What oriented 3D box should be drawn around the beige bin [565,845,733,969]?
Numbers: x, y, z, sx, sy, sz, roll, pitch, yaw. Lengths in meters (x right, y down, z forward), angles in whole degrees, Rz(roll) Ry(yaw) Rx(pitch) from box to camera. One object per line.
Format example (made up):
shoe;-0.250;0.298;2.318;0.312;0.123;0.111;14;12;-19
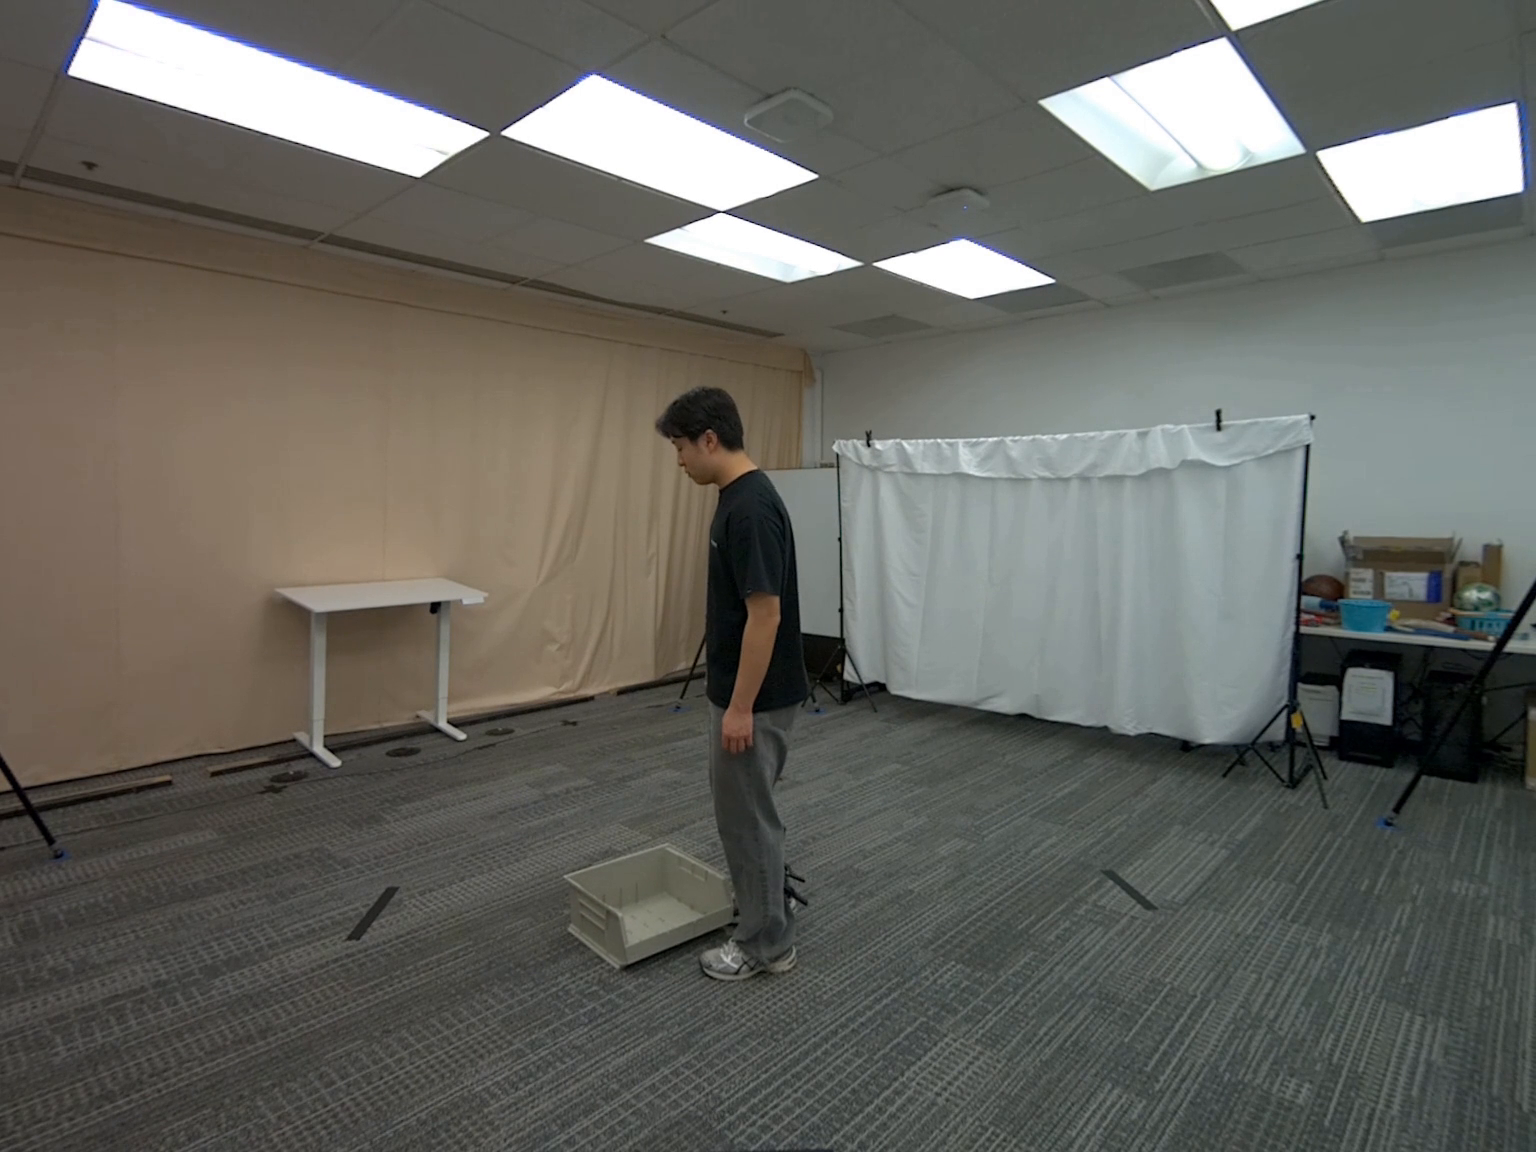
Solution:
beige bin;-0.394;1.078;2.754;0.409;0.188;0.389;-4;4;-40
